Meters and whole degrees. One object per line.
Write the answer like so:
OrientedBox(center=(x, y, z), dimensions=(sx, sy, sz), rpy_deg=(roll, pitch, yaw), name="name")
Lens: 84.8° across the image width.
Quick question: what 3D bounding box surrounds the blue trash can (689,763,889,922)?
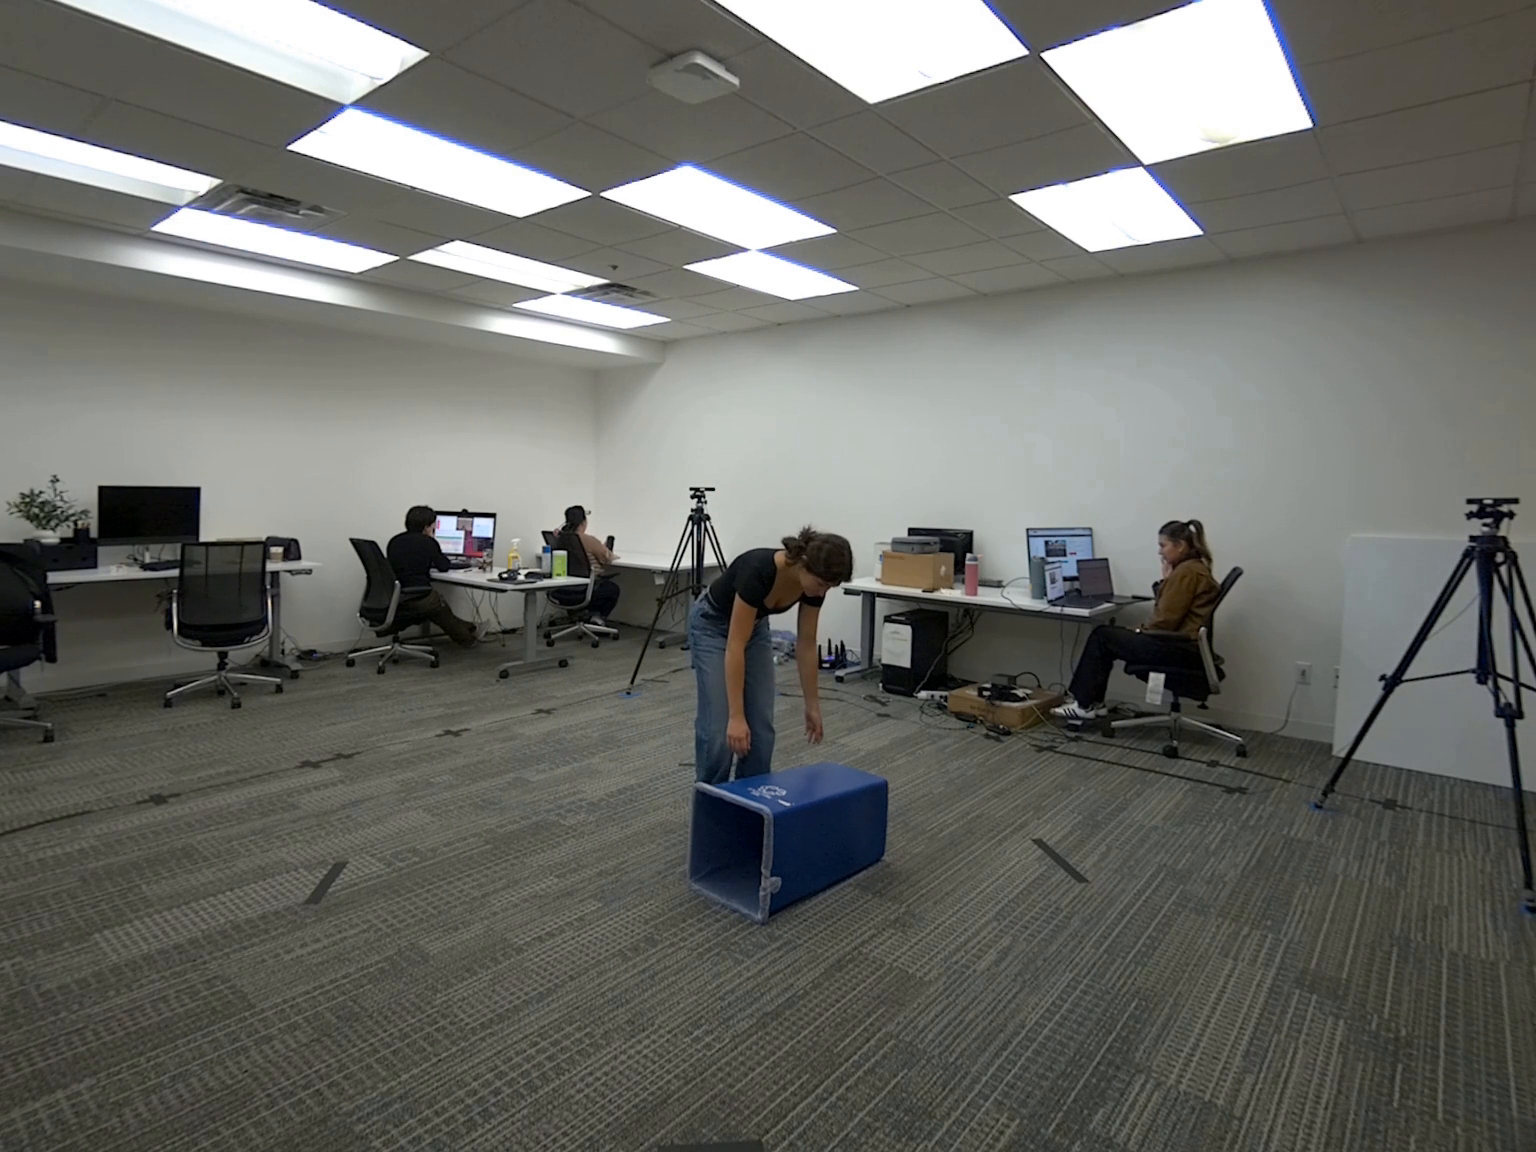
OrientedBox(center=(0.088, 0.909, 3.075), dimensions=(0.387, 0.378, 0.690), rpy_deg=(5, 3, 43), name="blue trash can")
